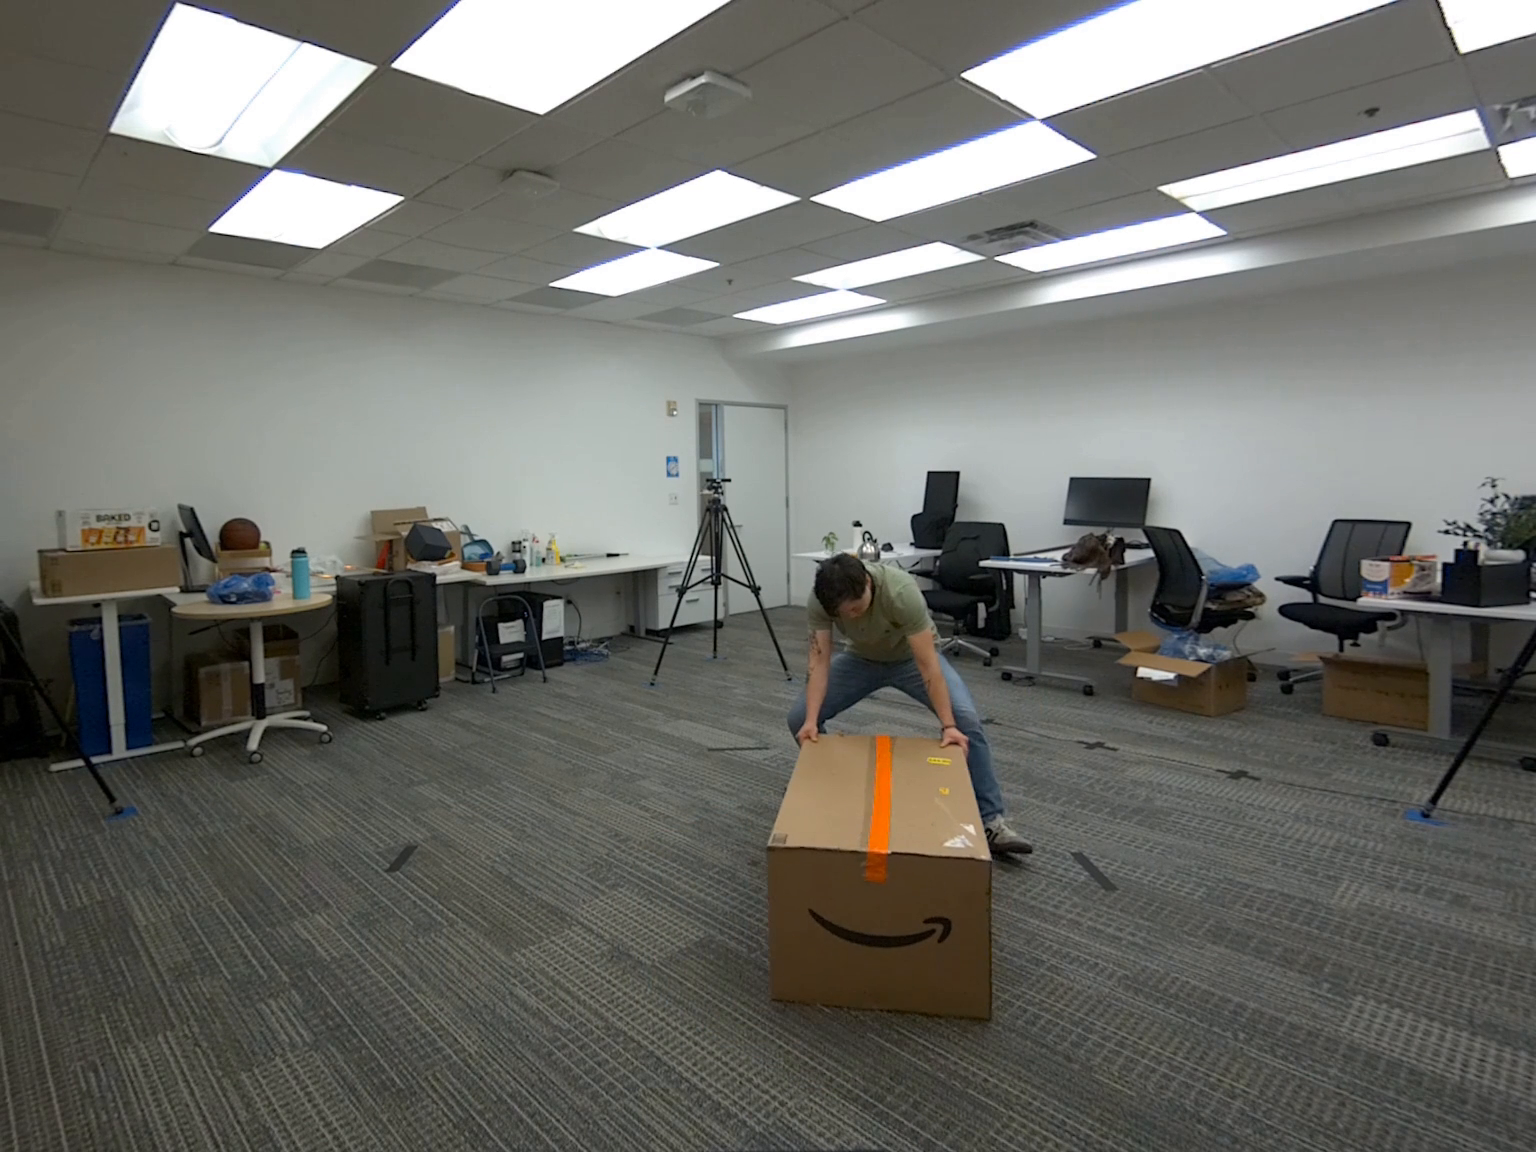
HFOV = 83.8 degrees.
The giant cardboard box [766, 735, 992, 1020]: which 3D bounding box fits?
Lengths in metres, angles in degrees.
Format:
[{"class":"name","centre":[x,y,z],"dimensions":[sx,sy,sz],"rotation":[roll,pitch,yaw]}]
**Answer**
[{"class":"giant cardboard box","centre":[0.357,0.869,2.704],"dimensions":[0.584,0.424,1.019],"rotation":[0,6,10]}]
